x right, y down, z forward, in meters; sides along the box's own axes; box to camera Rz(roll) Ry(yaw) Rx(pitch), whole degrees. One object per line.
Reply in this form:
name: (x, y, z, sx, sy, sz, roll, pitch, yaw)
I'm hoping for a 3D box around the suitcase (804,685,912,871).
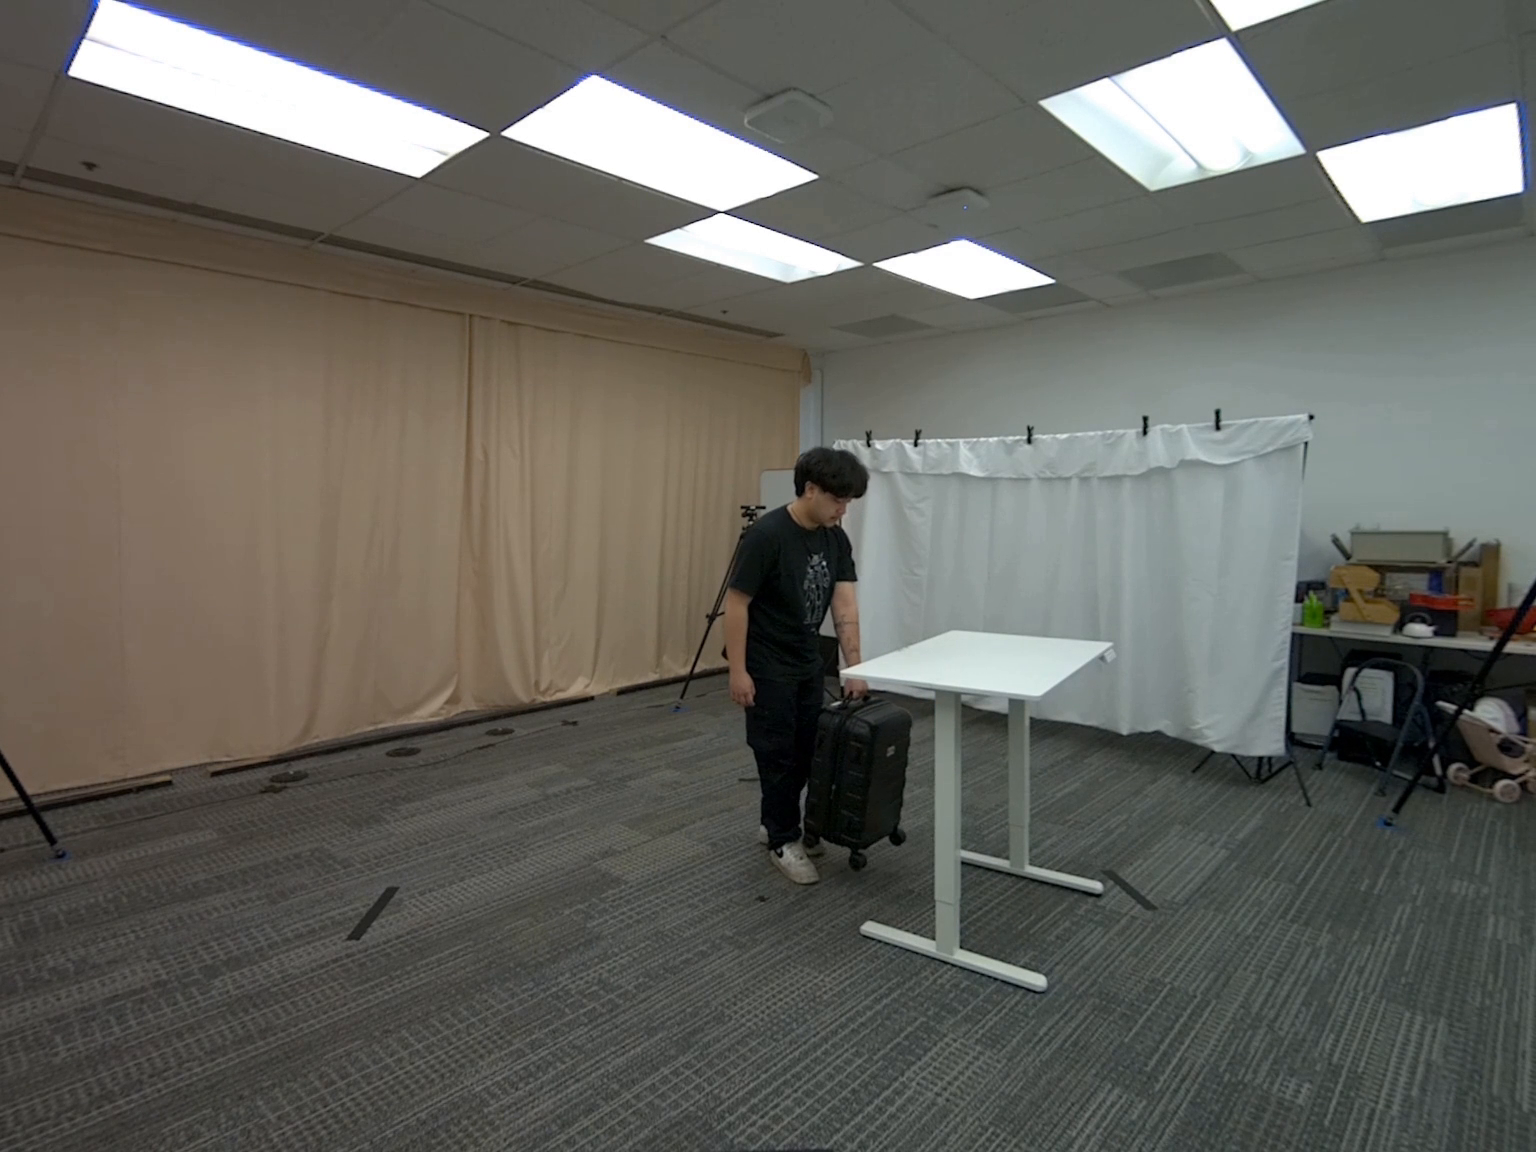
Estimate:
suitcase: (0.350, 0.746, 3.144, 0.257, 0.547, 0.364, 10, 9, 38)
